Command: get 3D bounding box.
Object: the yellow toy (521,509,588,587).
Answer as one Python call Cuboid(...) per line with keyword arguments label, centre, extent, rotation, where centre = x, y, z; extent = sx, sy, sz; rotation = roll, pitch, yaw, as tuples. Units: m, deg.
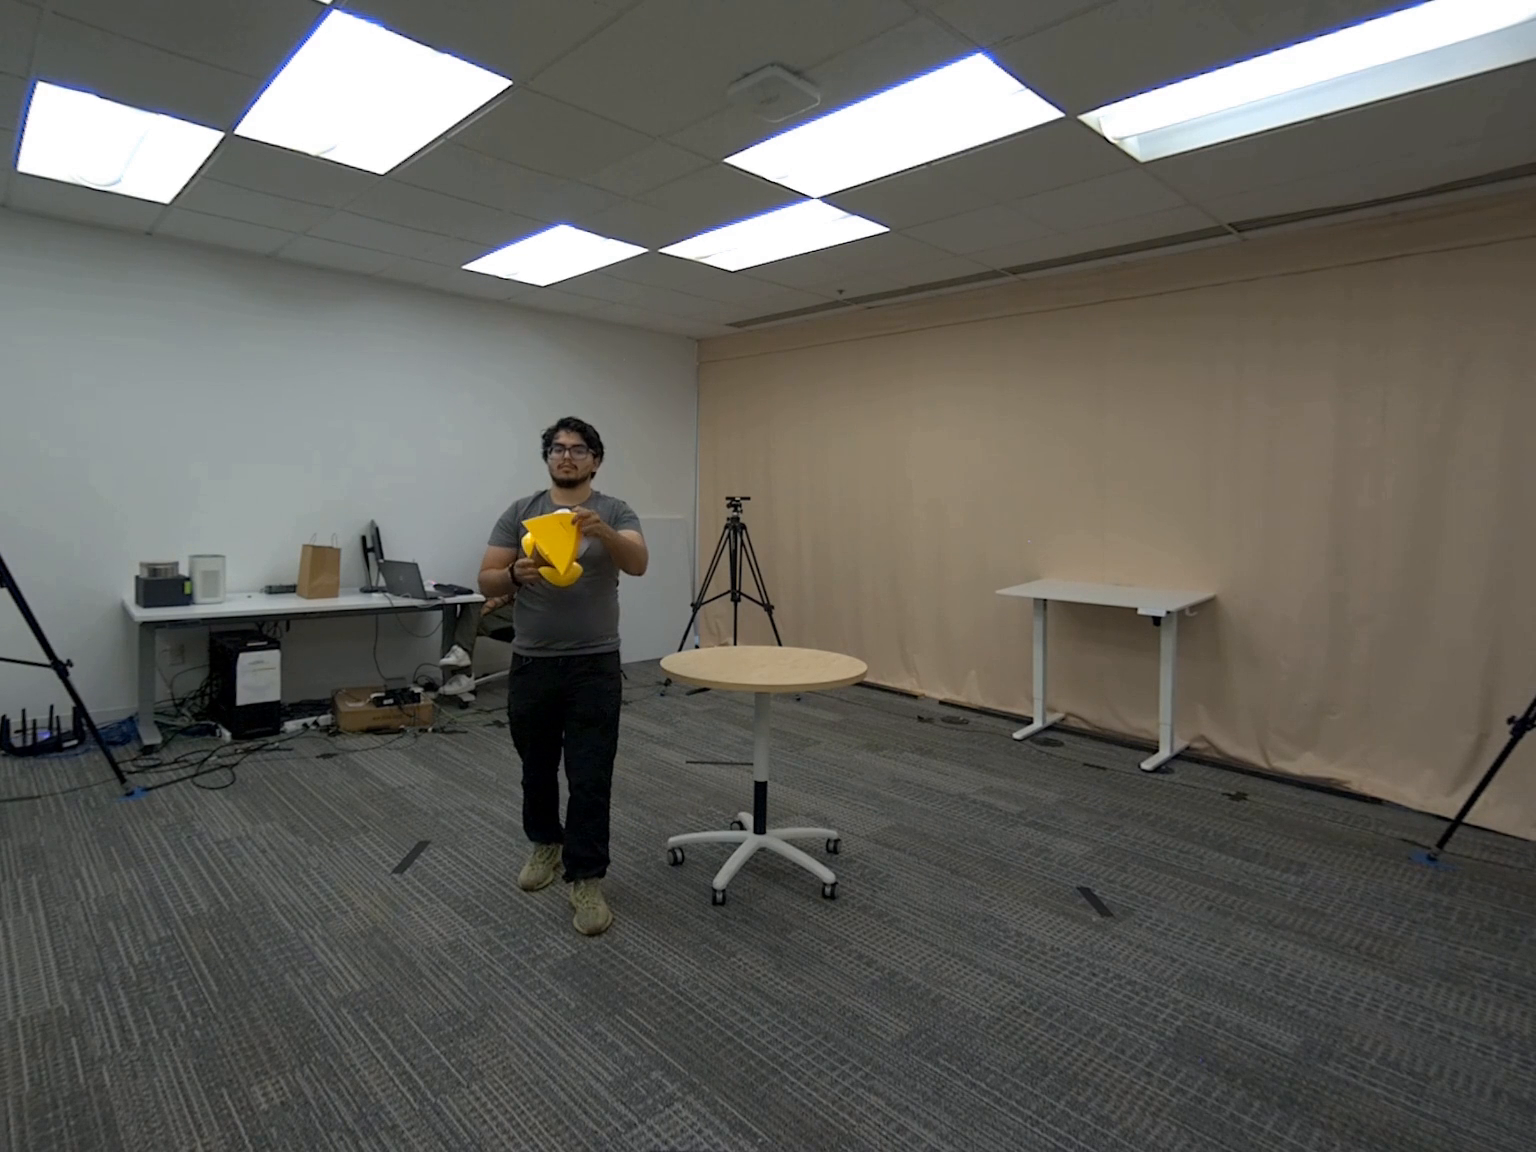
Cuboid(label="yellow toy", centre=(-0.599, -0.119, 2.496), extent=(0.231, 0.207, 0.190), rotation=(-45, -13, 29))
